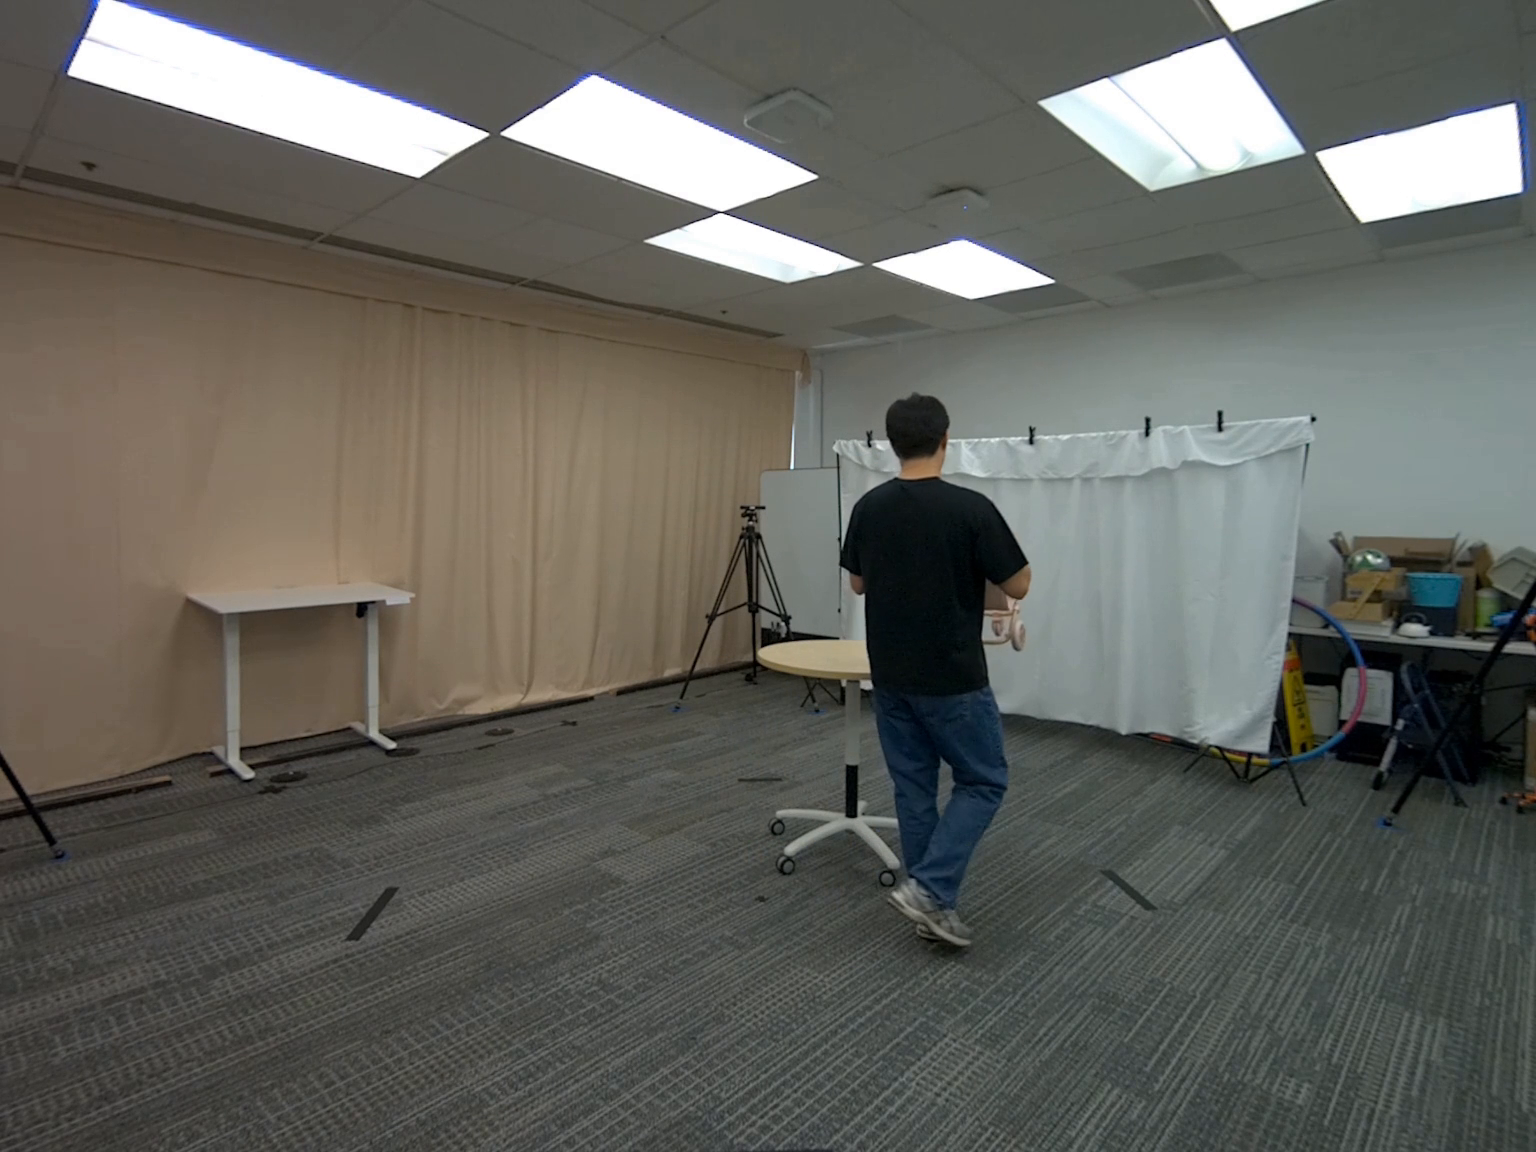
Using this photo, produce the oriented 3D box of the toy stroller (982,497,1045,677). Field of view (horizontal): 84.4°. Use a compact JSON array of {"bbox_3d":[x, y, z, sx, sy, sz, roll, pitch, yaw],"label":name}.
[{"bbox_3d":[0.778,0.031,3.050,0.290,0.528,0.336,-2,19,33],"label":"toy stroller"}]
